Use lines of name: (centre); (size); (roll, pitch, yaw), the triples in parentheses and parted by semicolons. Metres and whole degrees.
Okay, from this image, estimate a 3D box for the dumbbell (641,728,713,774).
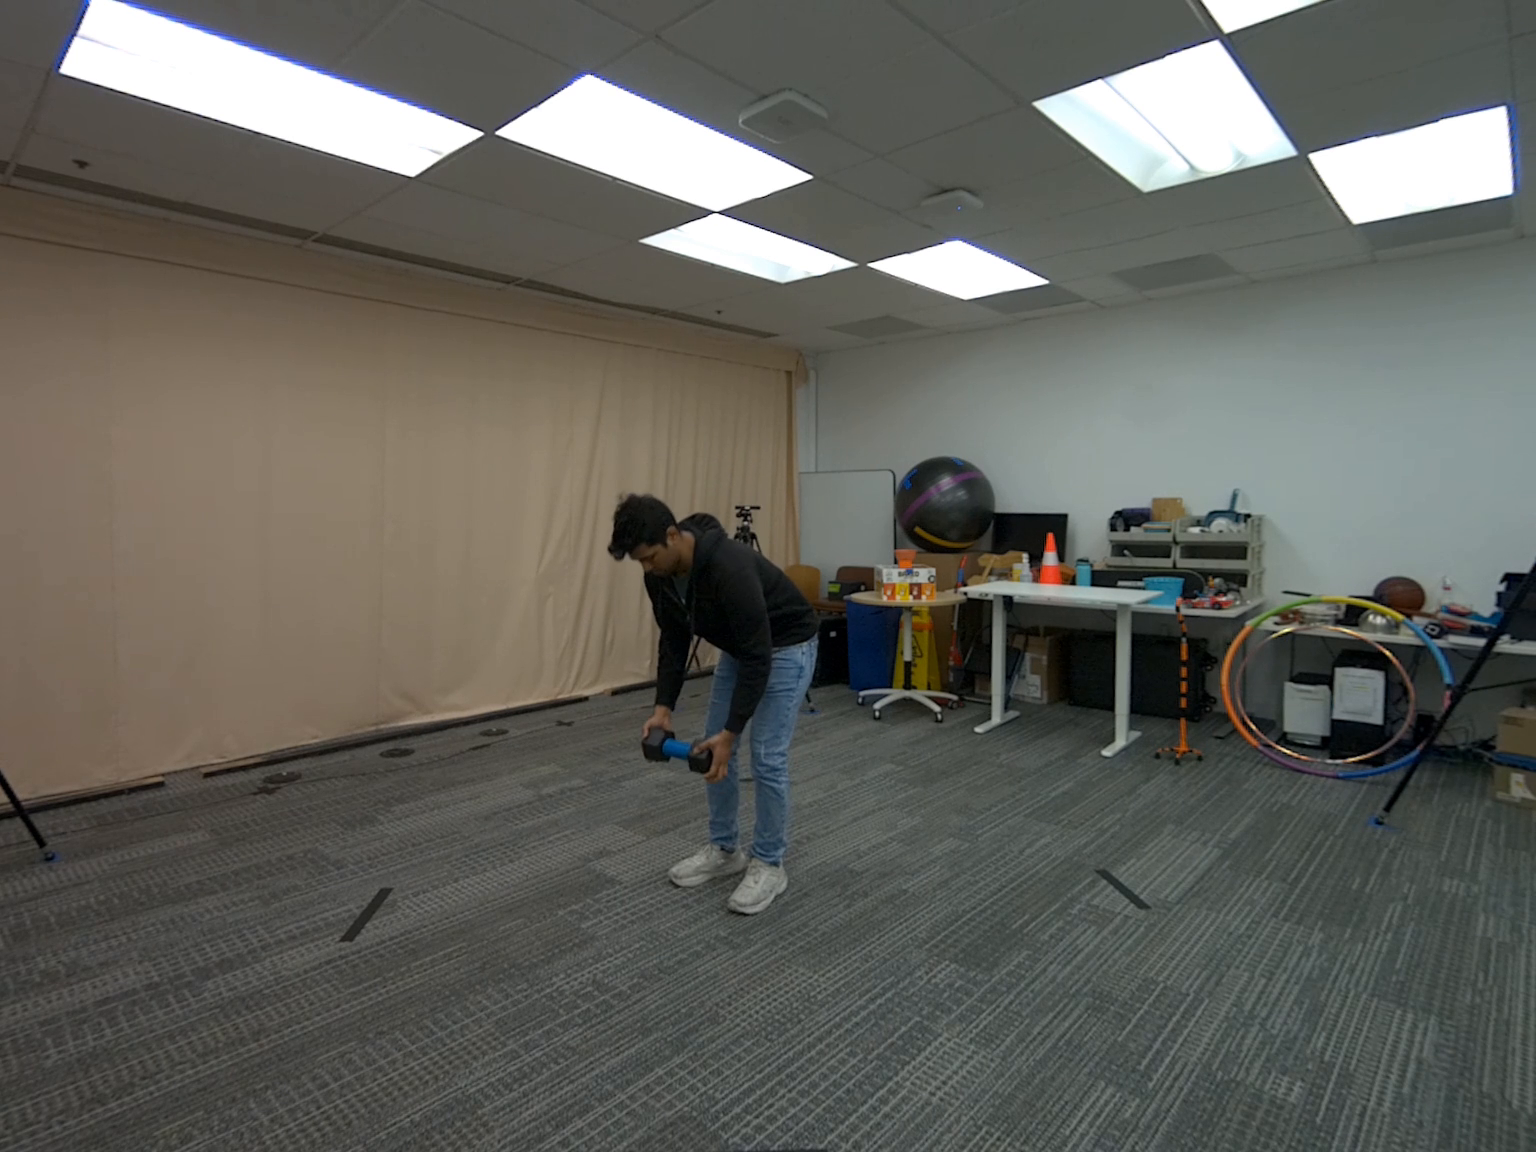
dumbbell: (-0.286, 0.596, 2.863); (0.303, 0.121, 0.106); (6, 23, 40)
